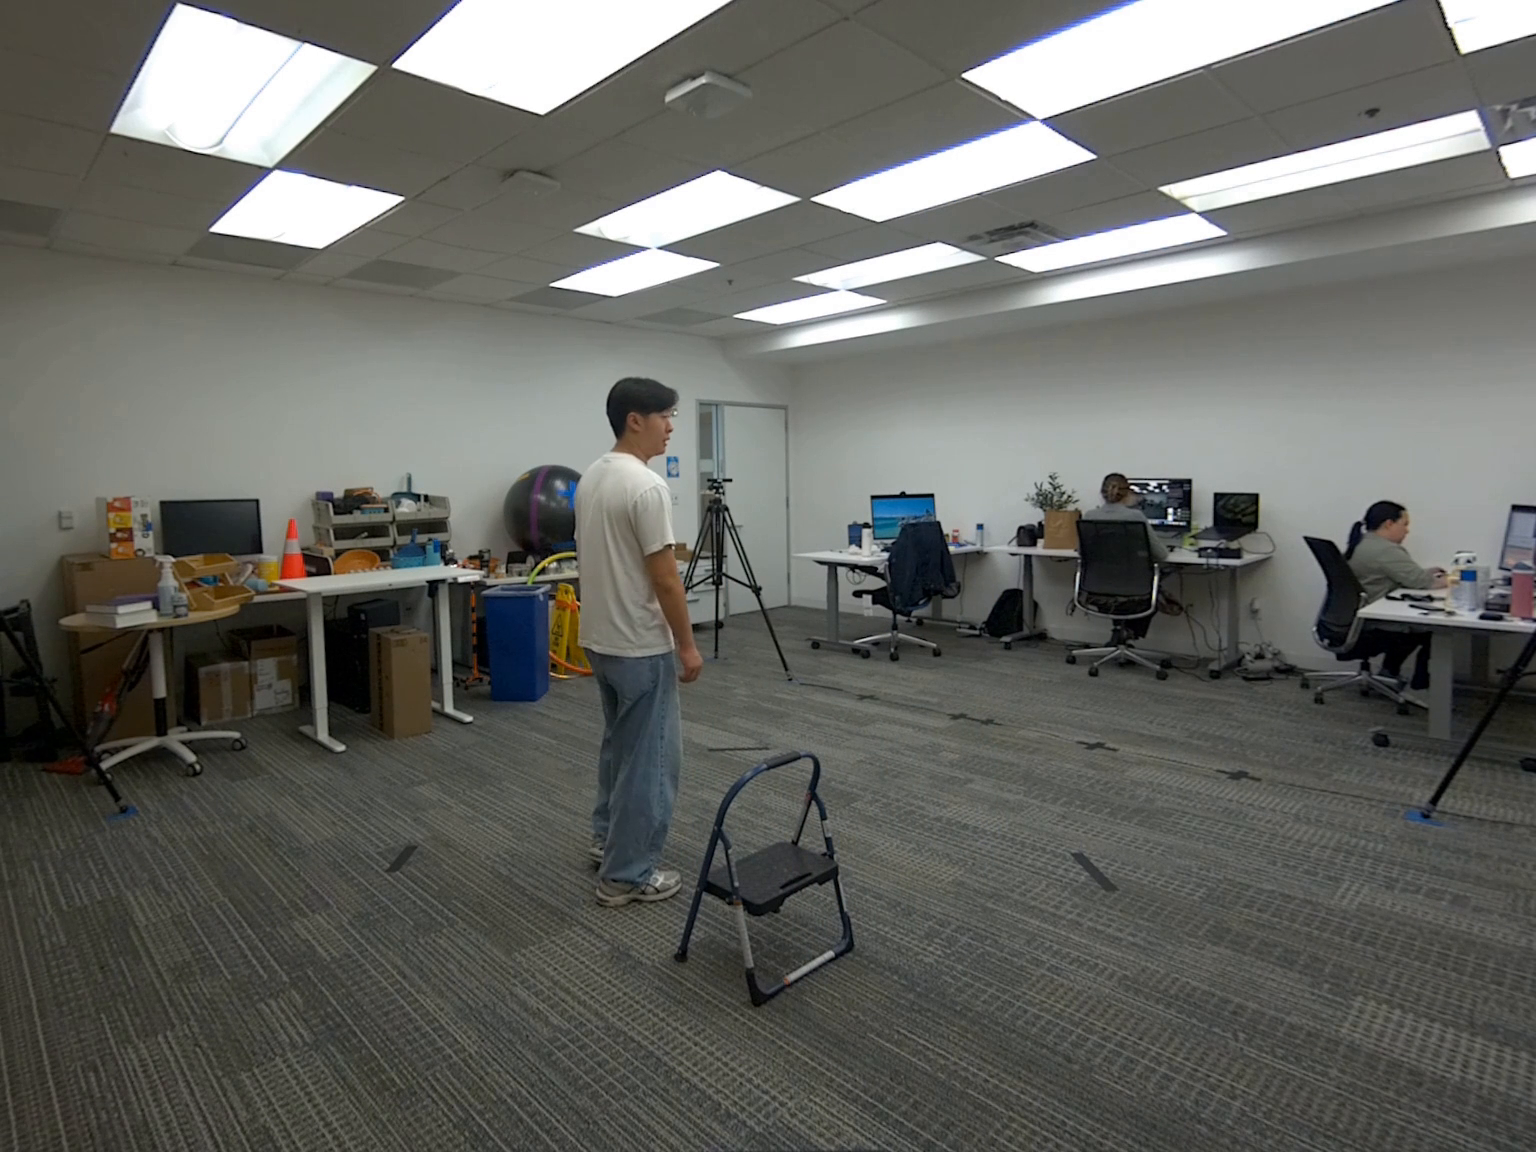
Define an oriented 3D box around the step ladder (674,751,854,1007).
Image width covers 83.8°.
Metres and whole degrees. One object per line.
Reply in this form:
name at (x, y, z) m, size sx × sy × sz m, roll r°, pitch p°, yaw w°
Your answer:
step ladder at (-0.009, 0.810, 2.502) m, size 0.360 × 0.604 × 0.419 m, roll 2°, pitch 6°, yaw 45°
